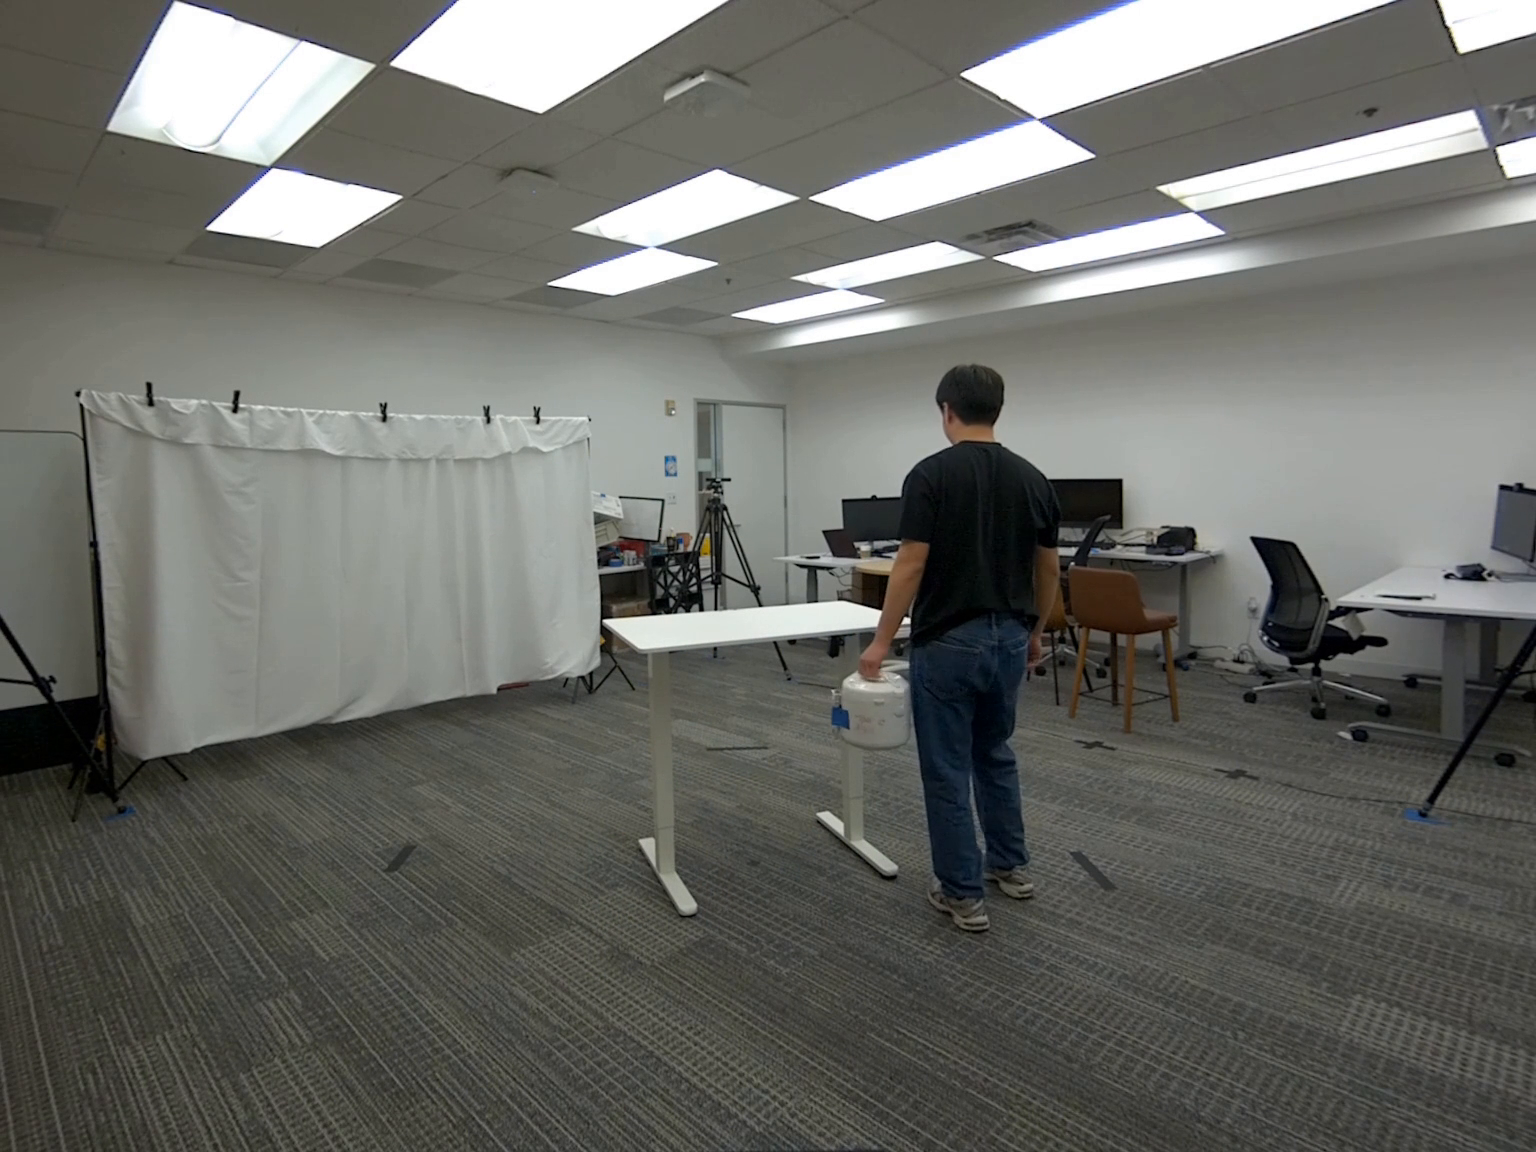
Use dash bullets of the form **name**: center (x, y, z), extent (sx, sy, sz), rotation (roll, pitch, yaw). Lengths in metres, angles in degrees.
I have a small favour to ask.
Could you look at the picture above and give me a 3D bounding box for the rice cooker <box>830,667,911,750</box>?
- **rice cooker**: center (0.346, 0.407, 2.621), extent (0.212, 0.231, 0.227), rotation (-6, 9, -35)
